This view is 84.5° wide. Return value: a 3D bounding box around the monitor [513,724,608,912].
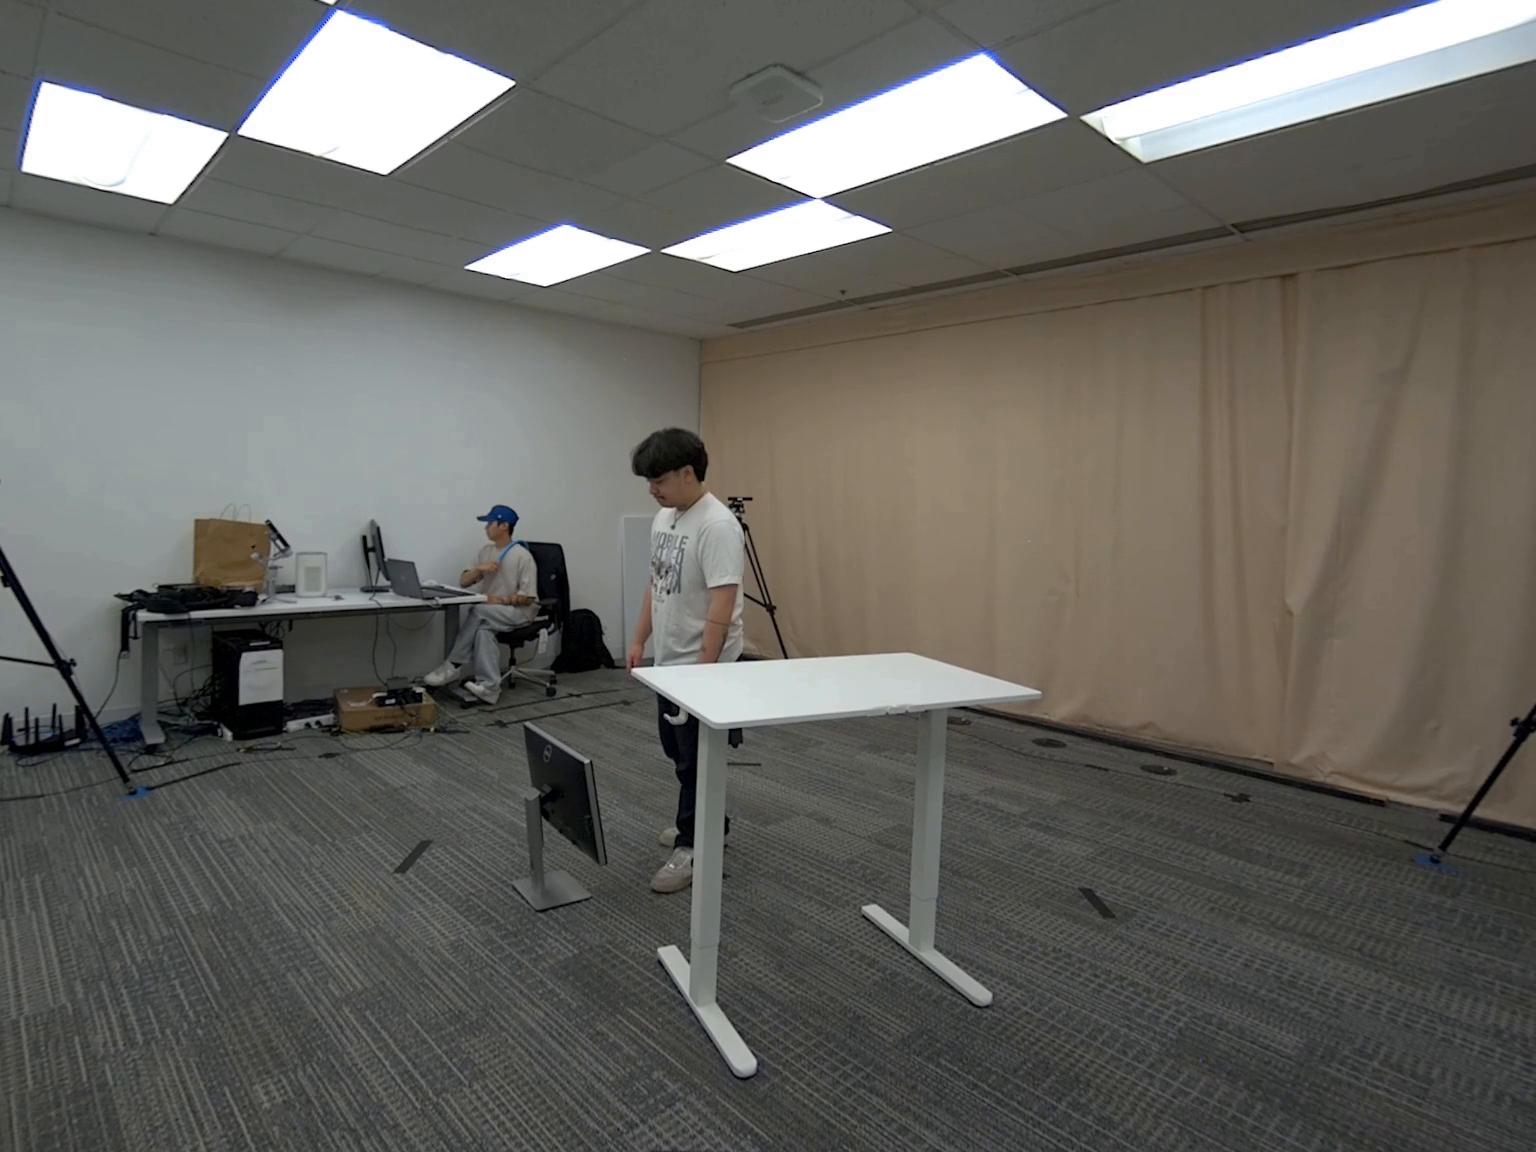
[{"bbox_3d":[-0.781,0.848,2.917,0.206,0.551,0.579,-7,8,-36],"label":"monitor"}]
